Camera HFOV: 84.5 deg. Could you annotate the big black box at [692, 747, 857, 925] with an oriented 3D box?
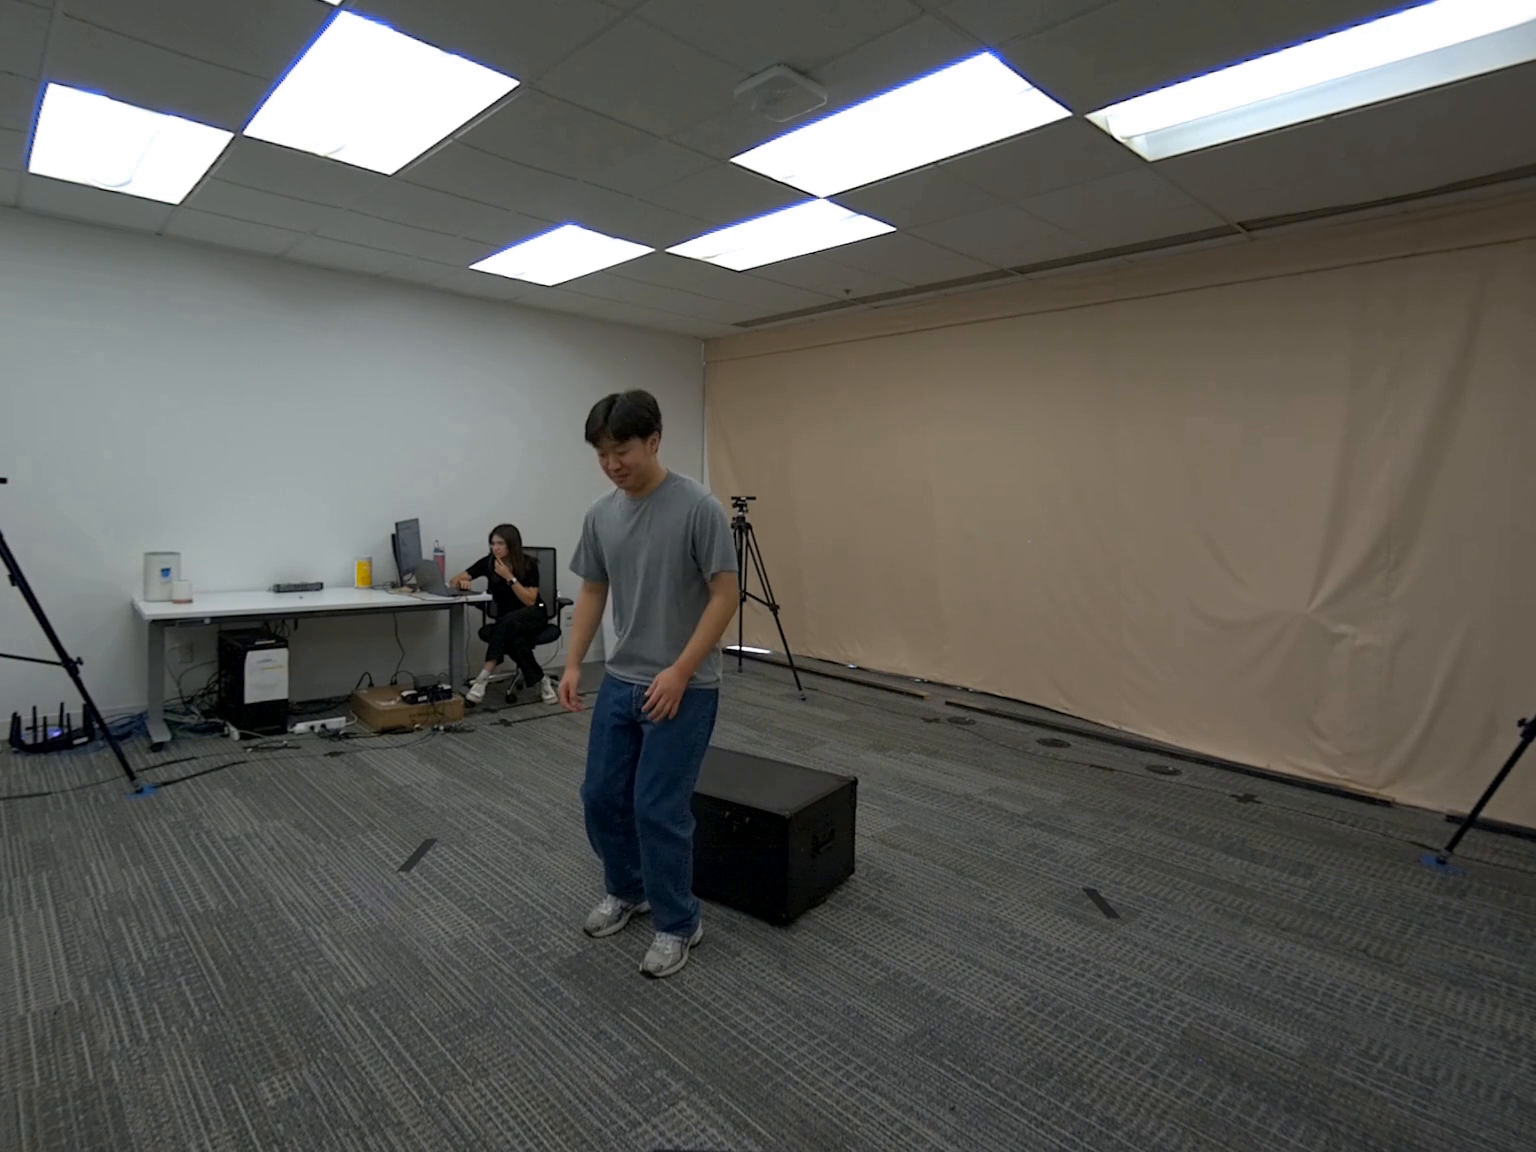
[{"bbox_3d":[-0.165,0.911,3.133,0.882,0.395,0.511,5,6,34],"label":"big black box"}]
